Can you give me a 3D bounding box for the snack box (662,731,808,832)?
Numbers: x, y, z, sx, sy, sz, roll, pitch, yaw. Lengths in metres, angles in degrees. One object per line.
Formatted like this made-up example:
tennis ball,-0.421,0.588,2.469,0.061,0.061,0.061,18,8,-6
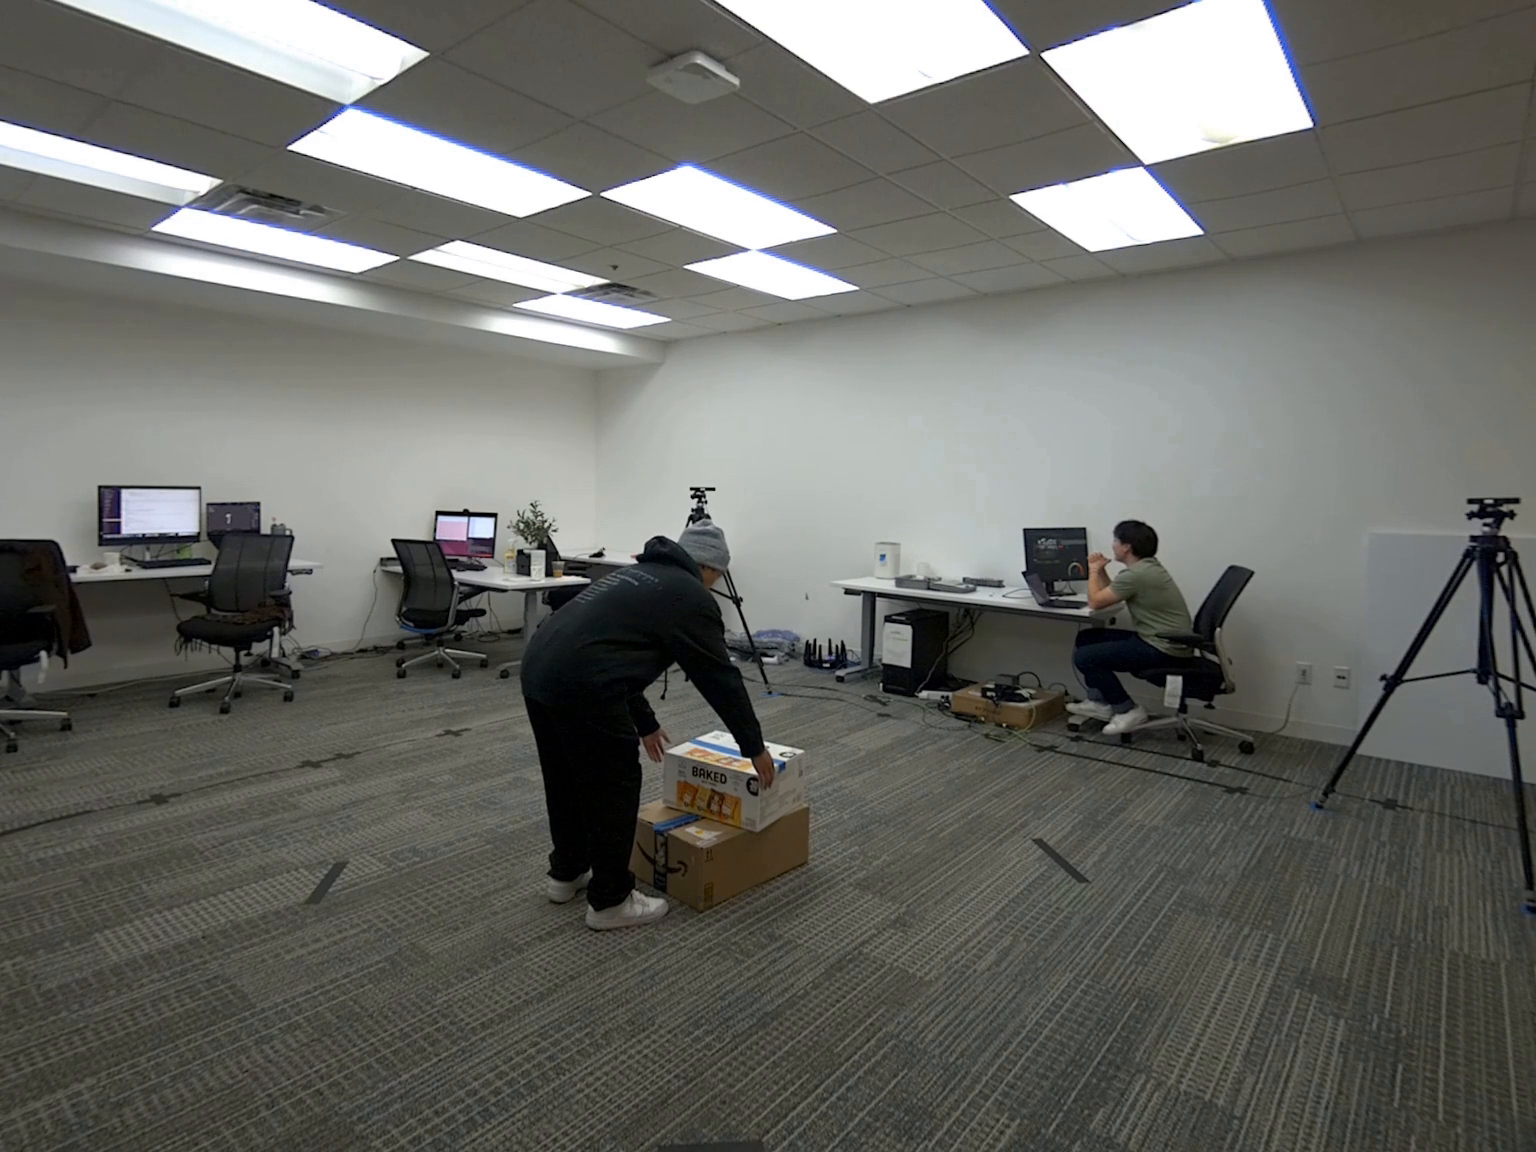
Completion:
snack box,-0.134,0.744,3.143,0.418,0.205,0.331,5,7,32
